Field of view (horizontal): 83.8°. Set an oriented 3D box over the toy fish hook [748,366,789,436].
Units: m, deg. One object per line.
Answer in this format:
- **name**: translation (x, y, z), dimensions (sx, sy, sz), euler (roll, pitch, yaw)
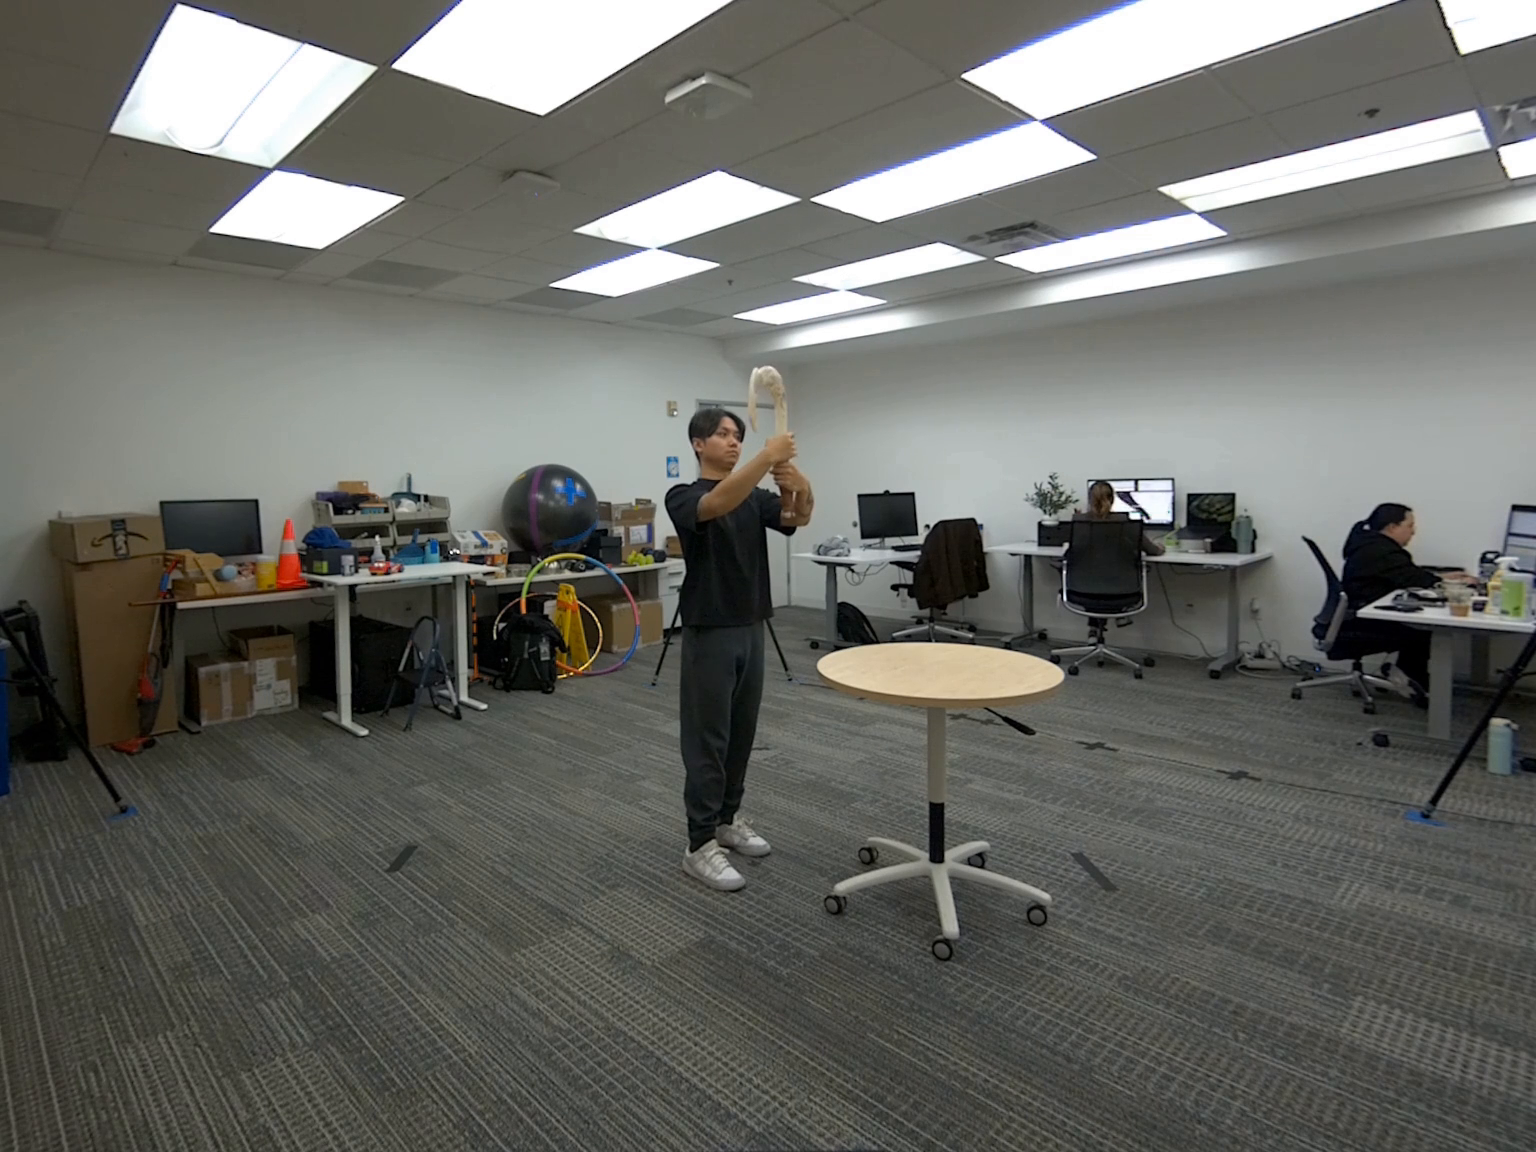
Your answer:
- **toy fish hook**: translation (0.016, -0.421, 2.744), dimensions (0.050, 0.500, 0.221), euler (2, 16, 37)
